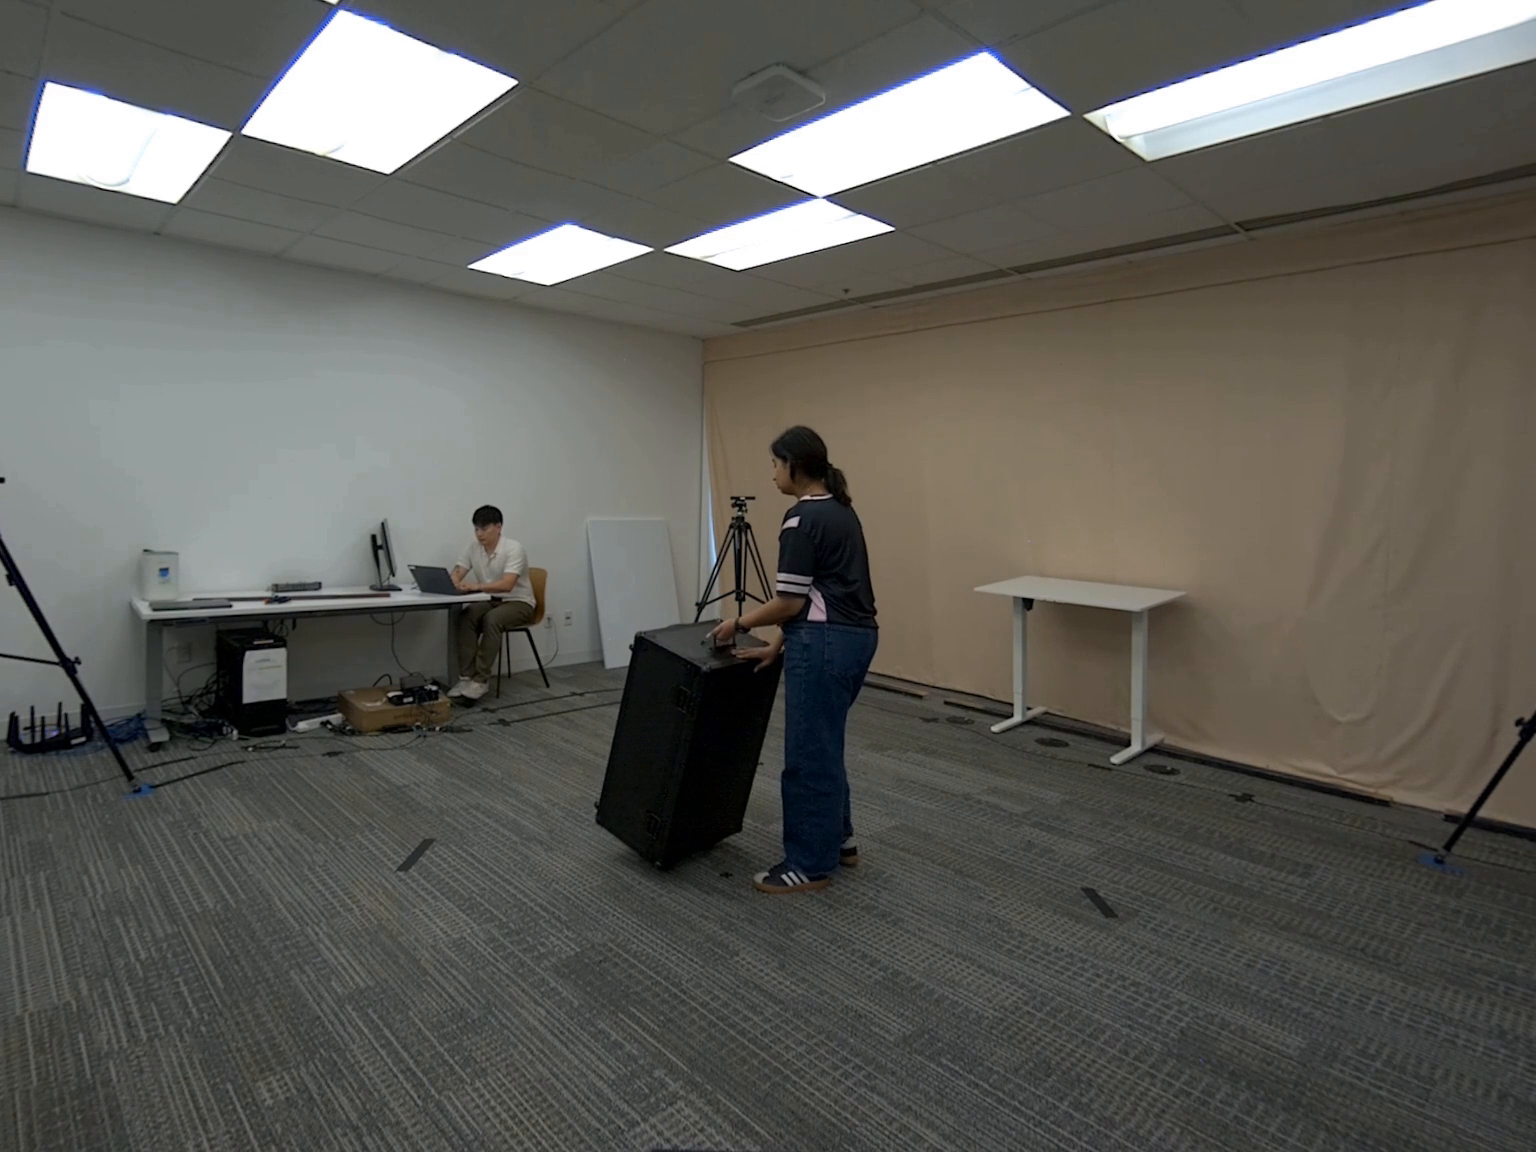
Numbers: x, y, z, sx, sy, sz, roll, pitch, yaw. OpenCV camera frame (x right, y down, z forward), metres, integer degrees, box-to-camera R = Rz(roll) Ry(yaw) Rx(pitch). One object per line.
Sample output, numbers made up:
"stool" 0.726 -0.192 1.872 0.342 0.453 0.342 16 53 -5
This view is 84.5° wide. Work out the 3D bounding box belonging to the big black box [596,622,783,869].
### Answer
"big black box" -0.311 0.648 3.214 0.396 0.863 0.512 22 14 33
